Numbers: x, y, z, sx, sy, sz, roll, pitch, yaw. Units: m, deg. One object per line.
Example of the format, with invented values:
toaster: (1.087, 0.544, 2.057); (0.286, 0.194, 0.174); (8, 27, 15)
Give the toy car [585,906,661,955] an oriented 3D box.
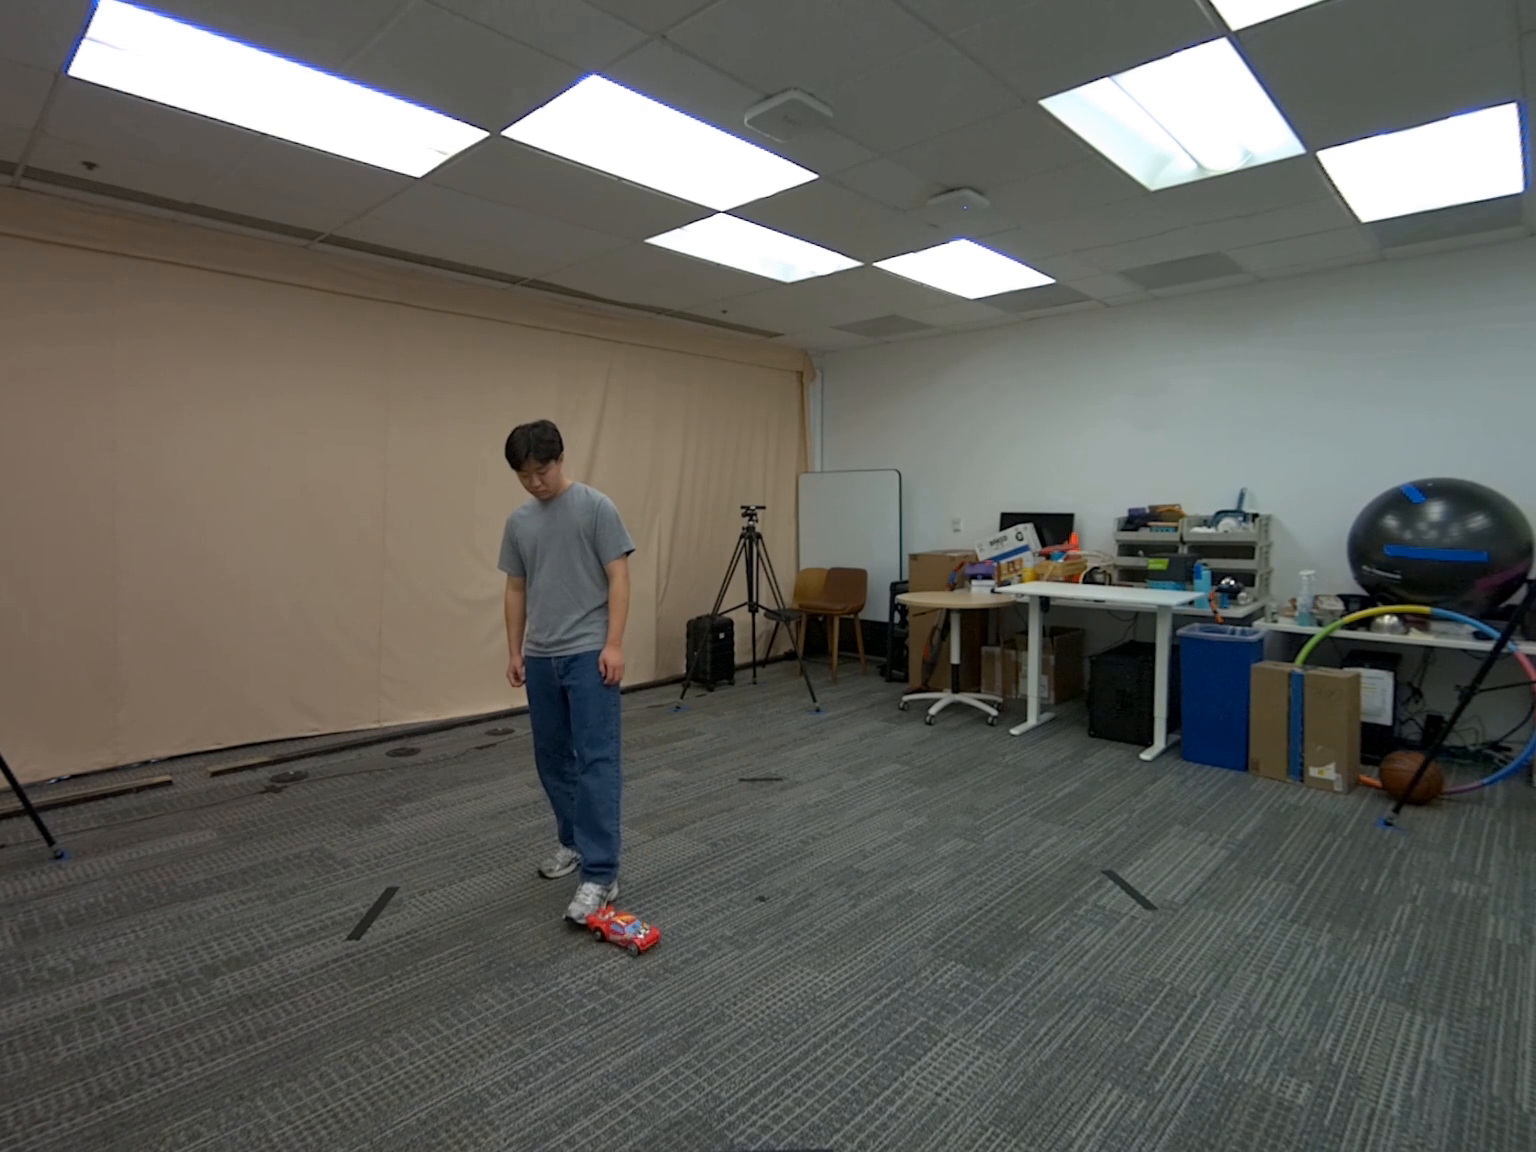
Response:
toy car: (-0.474, 1.138, 2.706); (0.263, 0.083, 0.126); (16, 13, 33)
